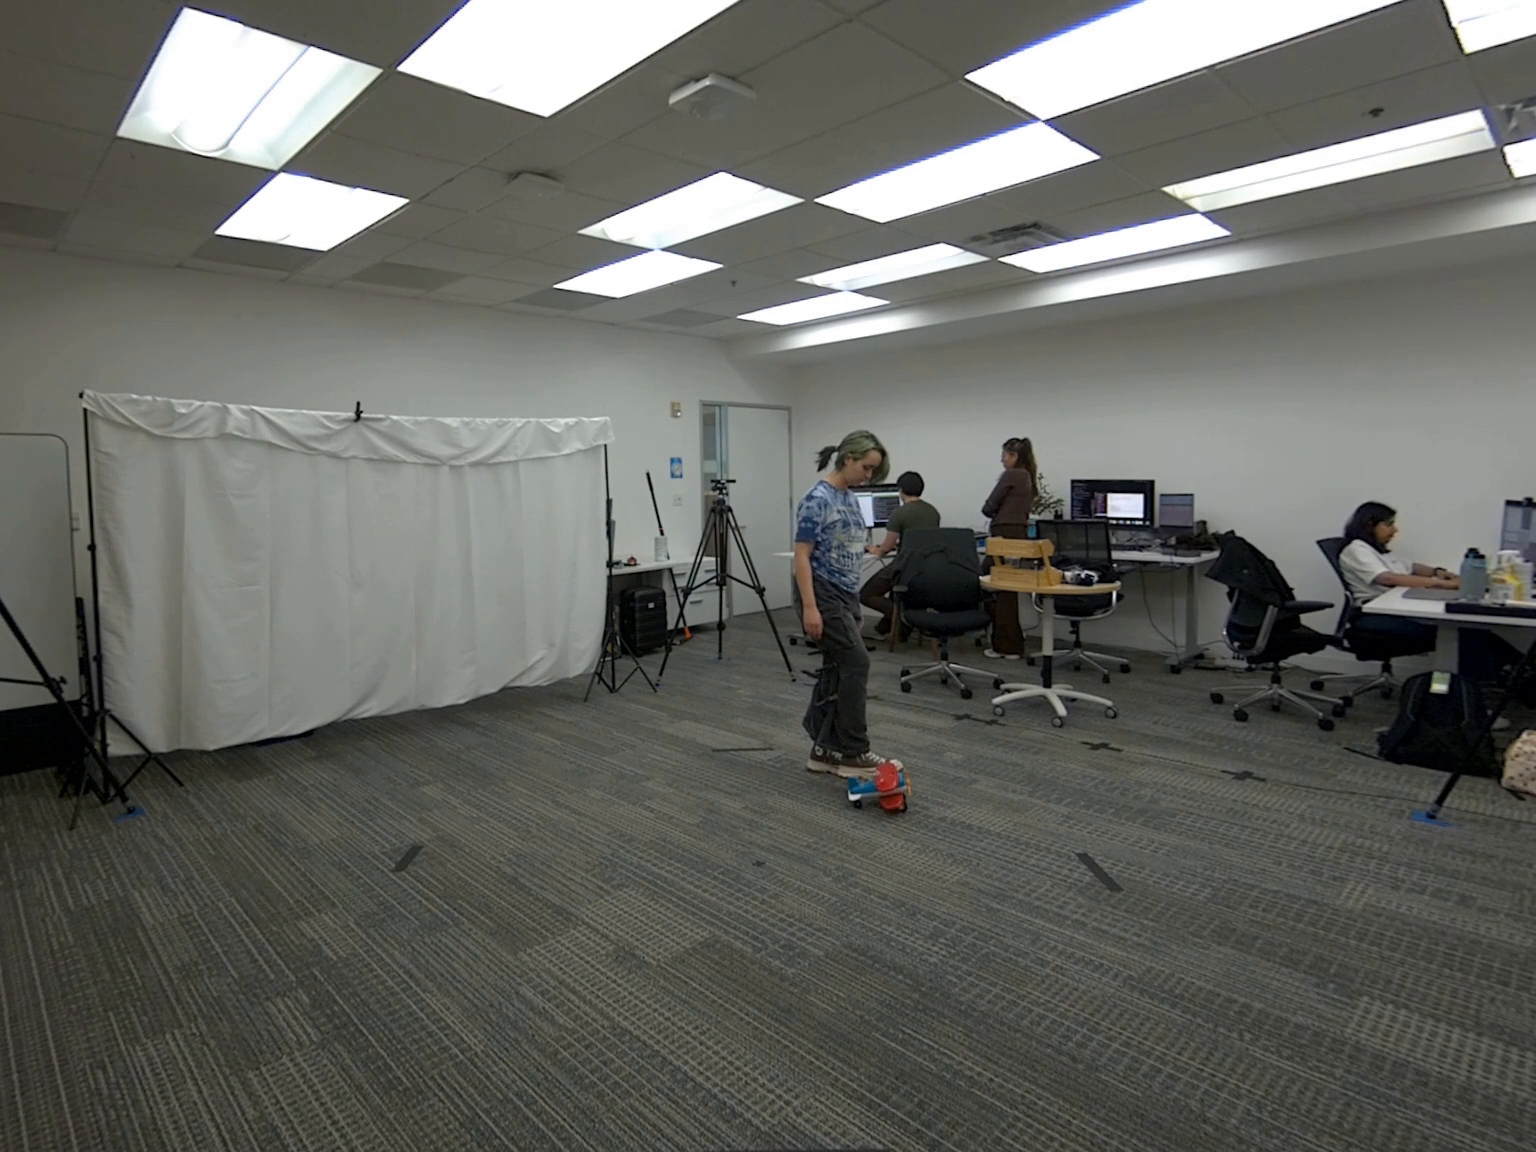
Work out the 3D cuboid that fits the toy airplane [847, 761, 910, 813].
[{"bbox_3d":[0.473,0.914,3.604,0.254,0.155,0.257,-4,9,-22],"label":"toy airplane"}]
